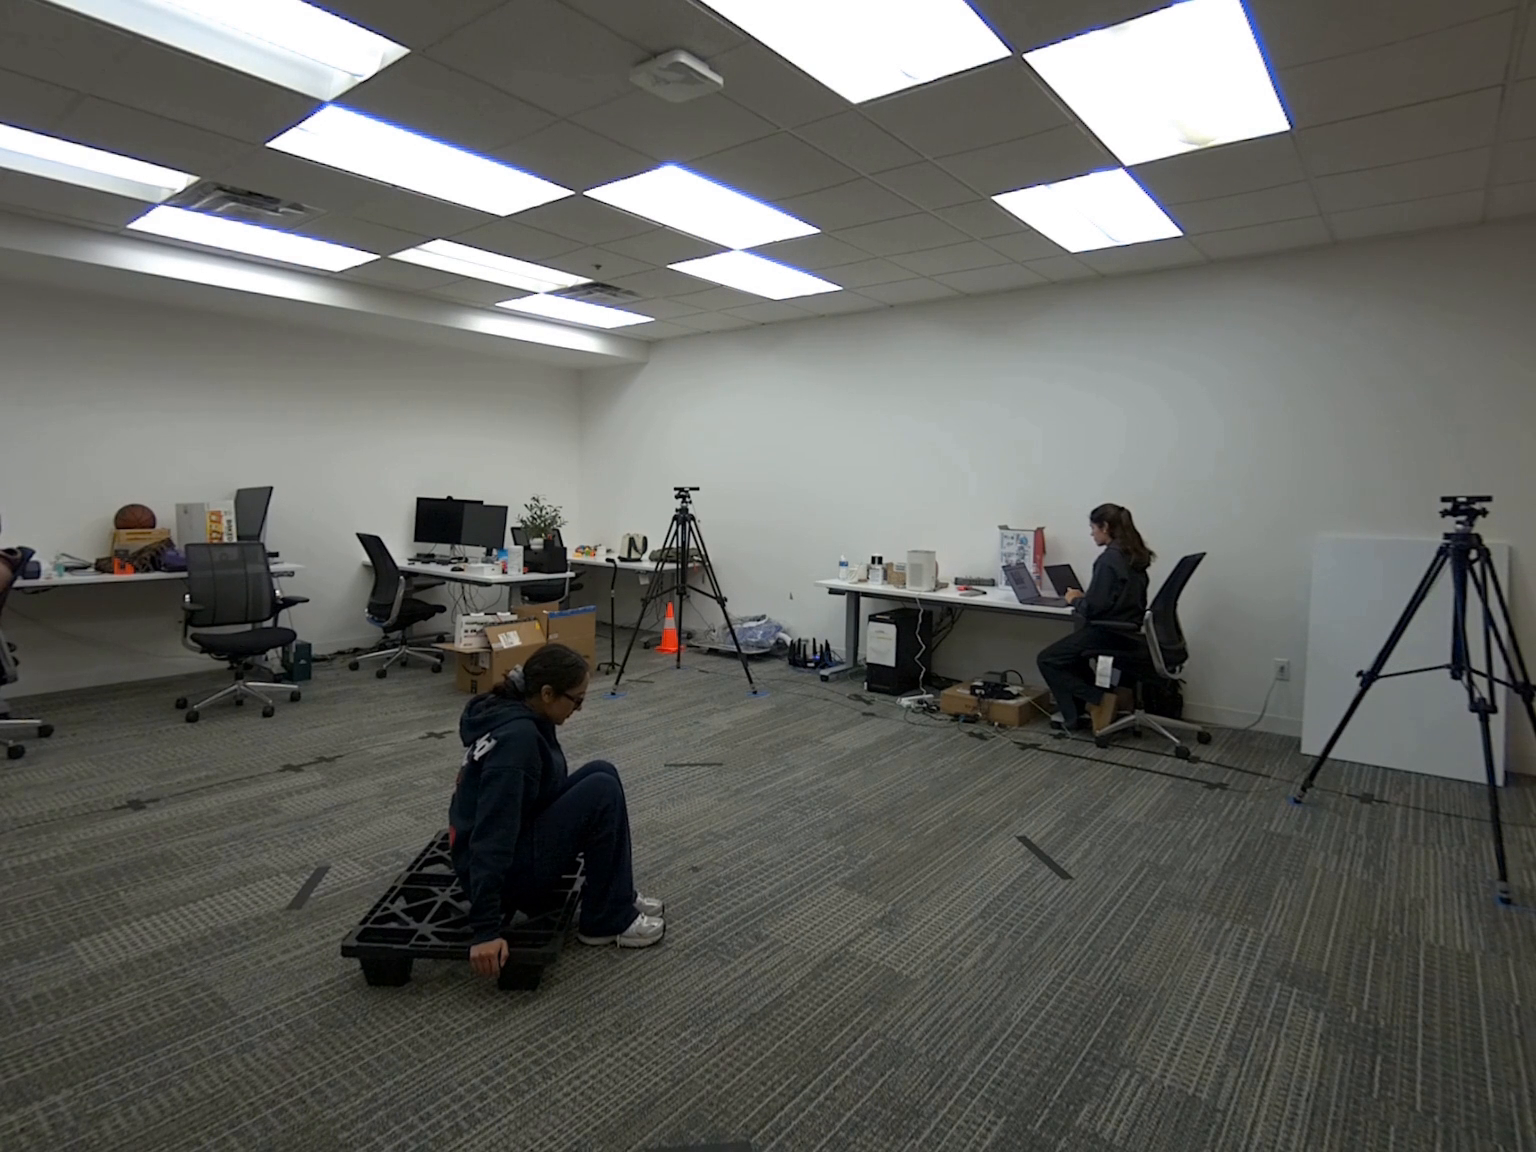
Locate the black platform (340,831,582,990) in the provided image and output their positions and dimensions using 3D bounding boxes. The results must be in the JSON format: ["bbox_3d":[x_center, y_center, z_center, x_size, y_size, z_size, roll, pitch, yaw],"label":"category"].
[{"bbox_3d":[-0.901,1.029,2.704,0.605,0.143,0.809,0,6,-1],"label":"black platform"}]
